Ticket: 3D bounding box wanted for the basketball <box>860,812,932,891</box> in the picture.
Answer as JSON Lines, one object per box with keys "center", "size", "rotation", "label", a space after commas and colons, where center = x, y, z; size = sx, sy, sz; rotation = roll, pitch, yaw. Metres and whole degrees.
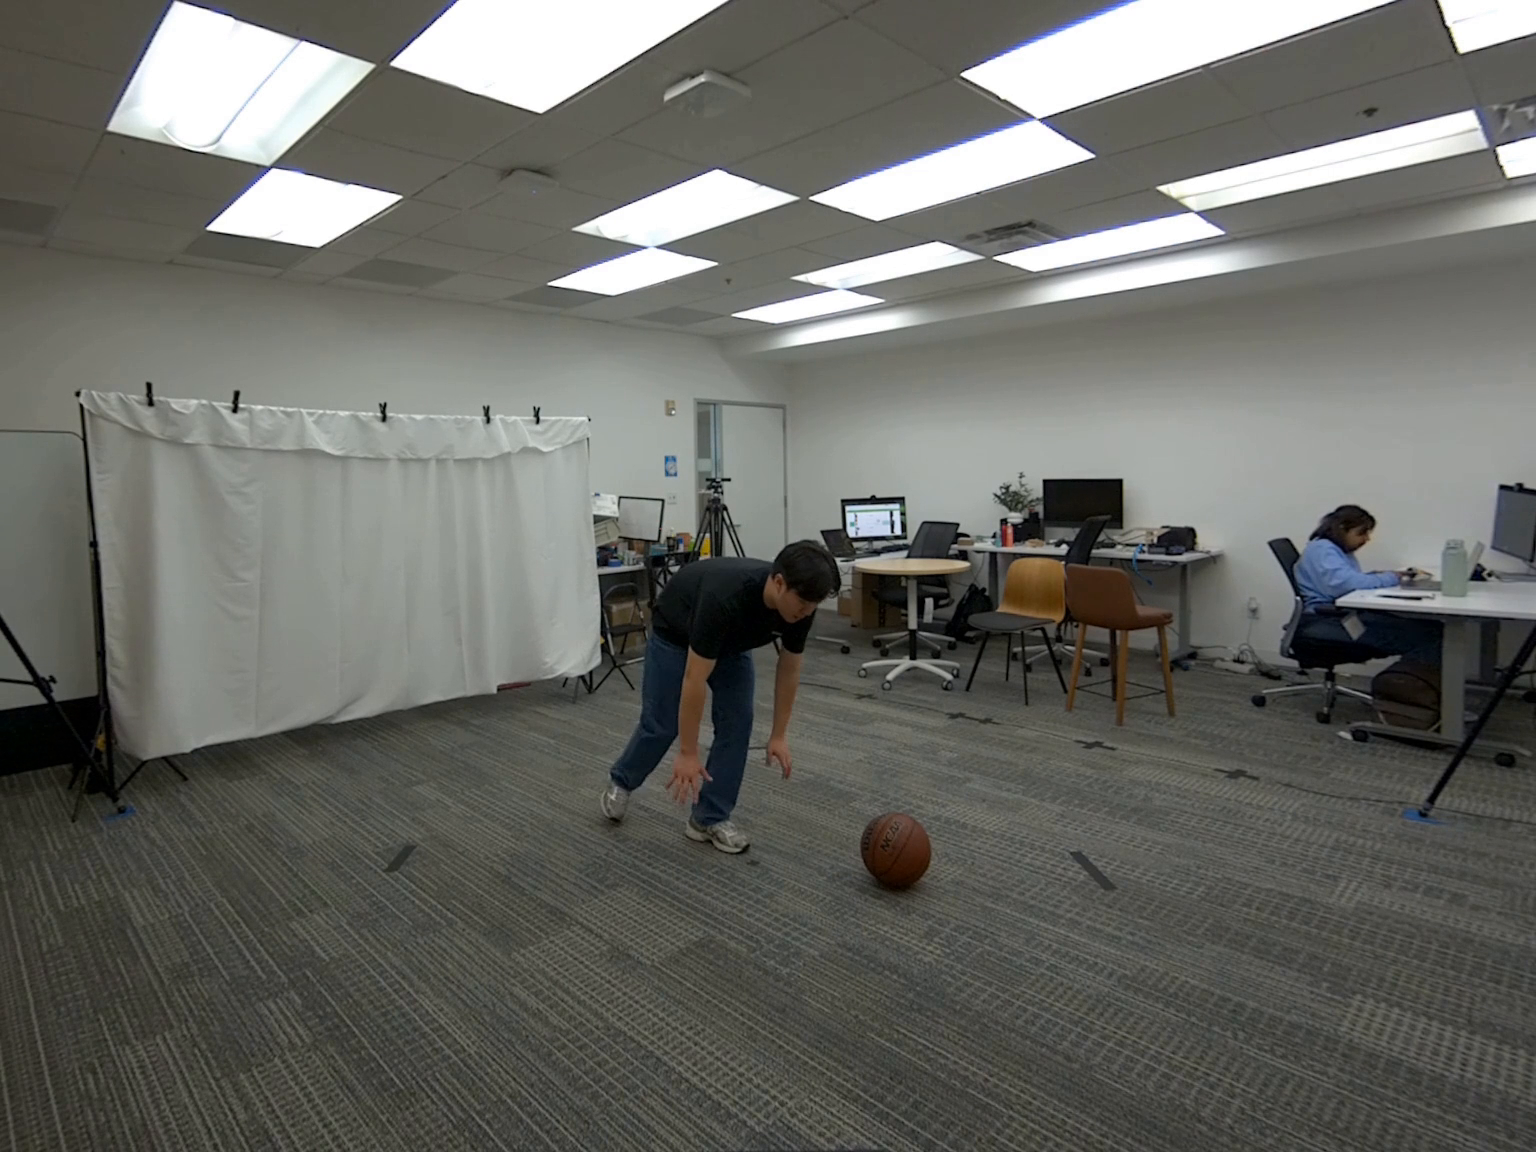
{"center": [0.444, 0.932, 2.923], "size": [0.236, 0.235, 0.237], "rotation": [-1, 5, -2], "label": "basketball"}
